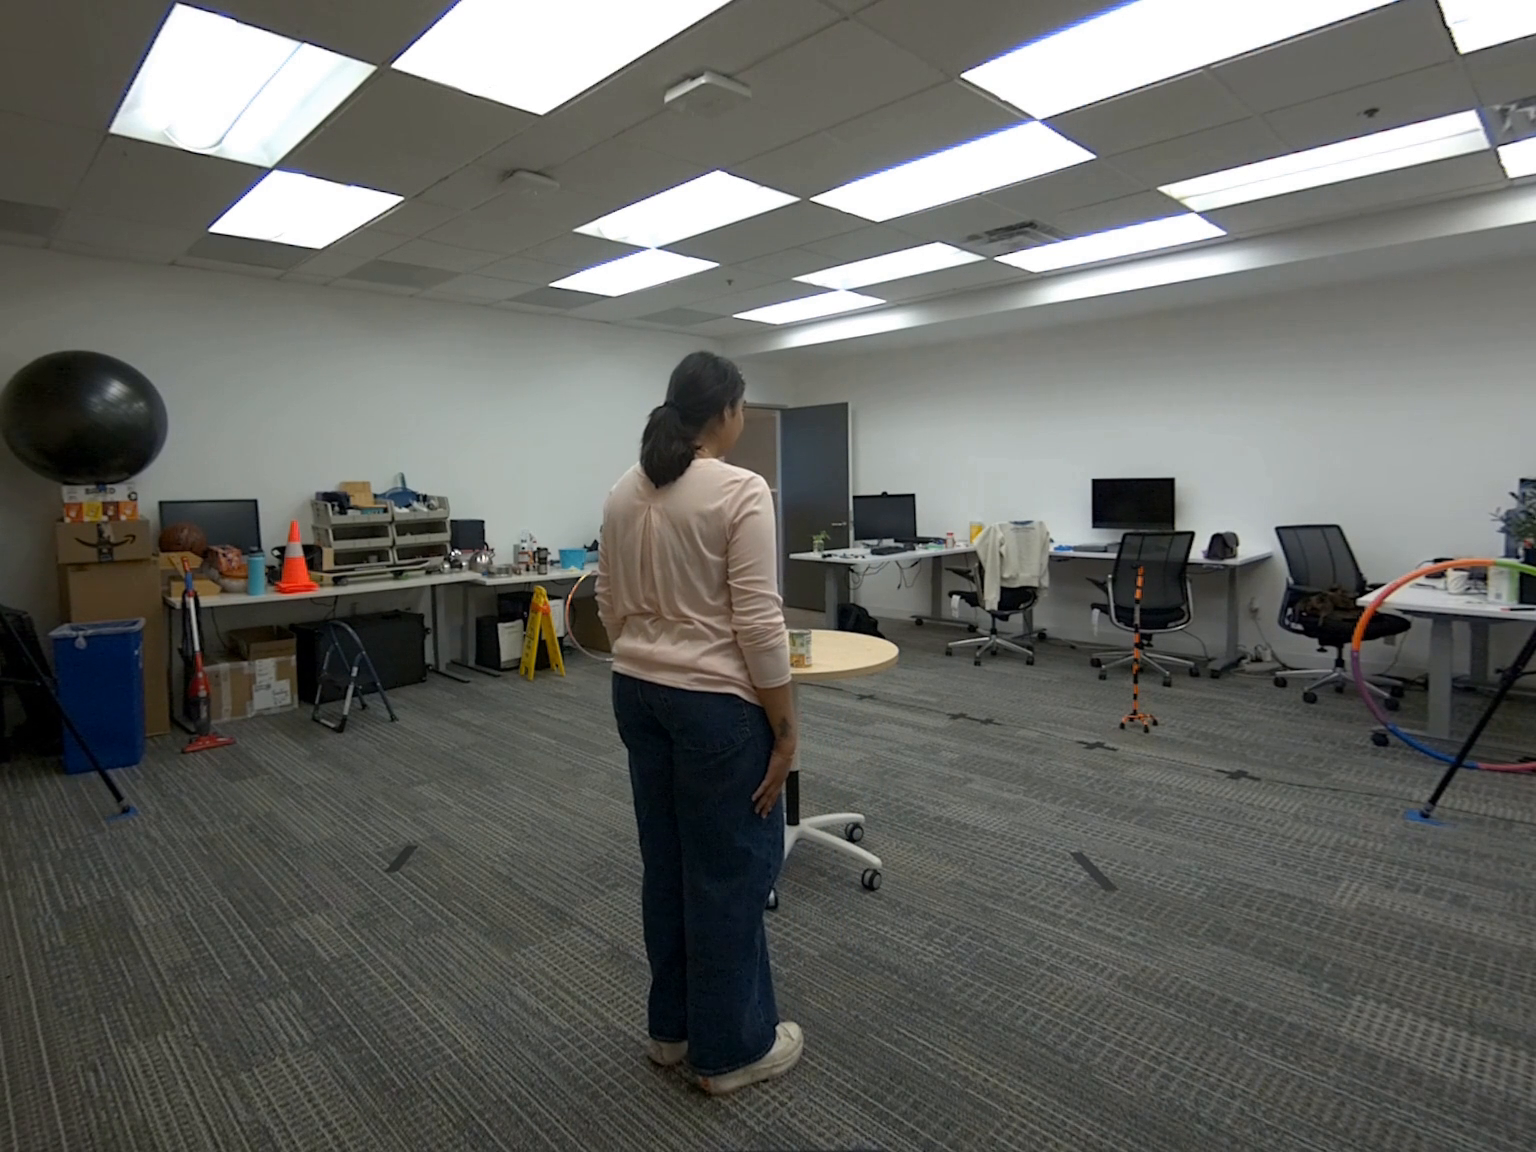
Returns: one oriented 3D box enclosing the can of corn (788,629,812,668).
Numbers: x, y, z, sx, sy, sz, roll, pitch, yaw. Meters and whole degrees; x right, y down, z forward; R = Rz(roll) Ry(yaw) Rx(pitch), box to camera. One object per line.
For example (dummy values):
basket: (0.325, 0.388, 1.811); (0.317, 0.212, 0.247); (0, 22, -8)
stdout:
can of corn: (0.113, 0.236, 2.792); (0.074, 0.110, 0.074); (-4, 4, -1)
